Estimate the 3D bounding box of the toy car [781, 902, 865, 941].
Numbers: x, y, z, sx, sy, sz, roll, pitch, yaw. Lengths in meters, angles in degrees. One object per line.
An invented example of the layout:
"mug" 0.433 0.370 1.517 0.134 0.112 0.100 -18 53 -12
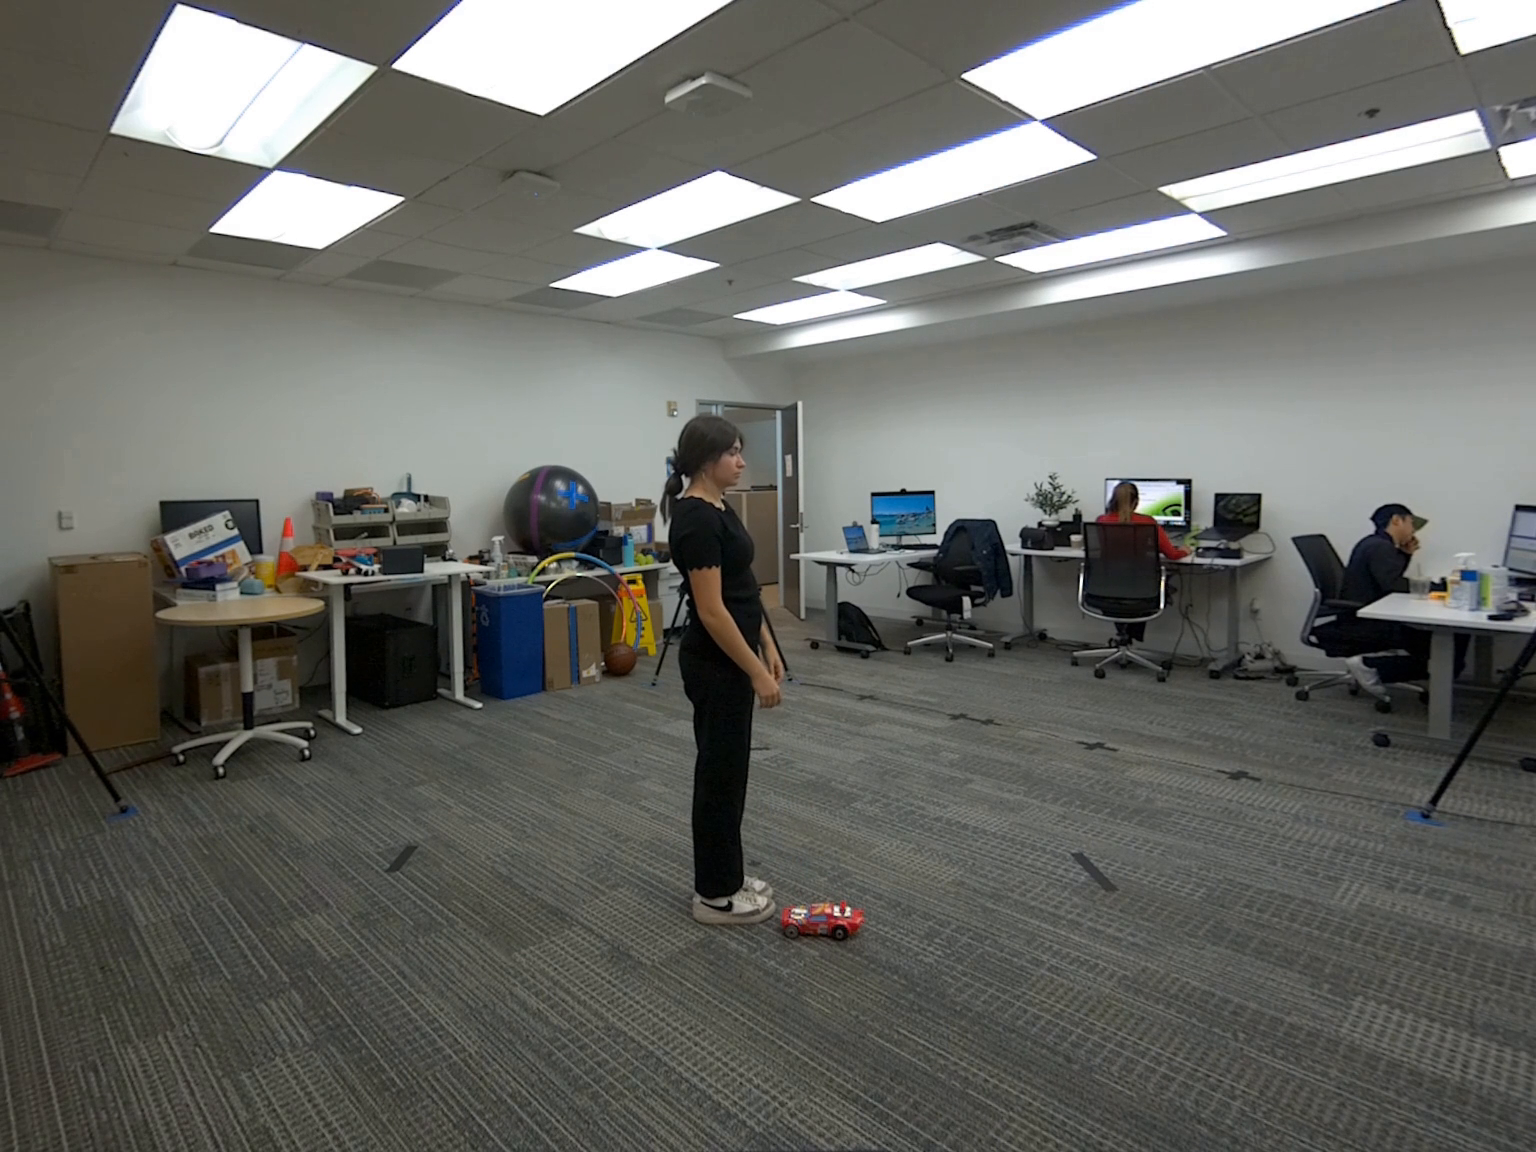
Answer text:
"toy car" 0.173 1.056 2.631 0.256 0.083 0.130 -13 4 9
